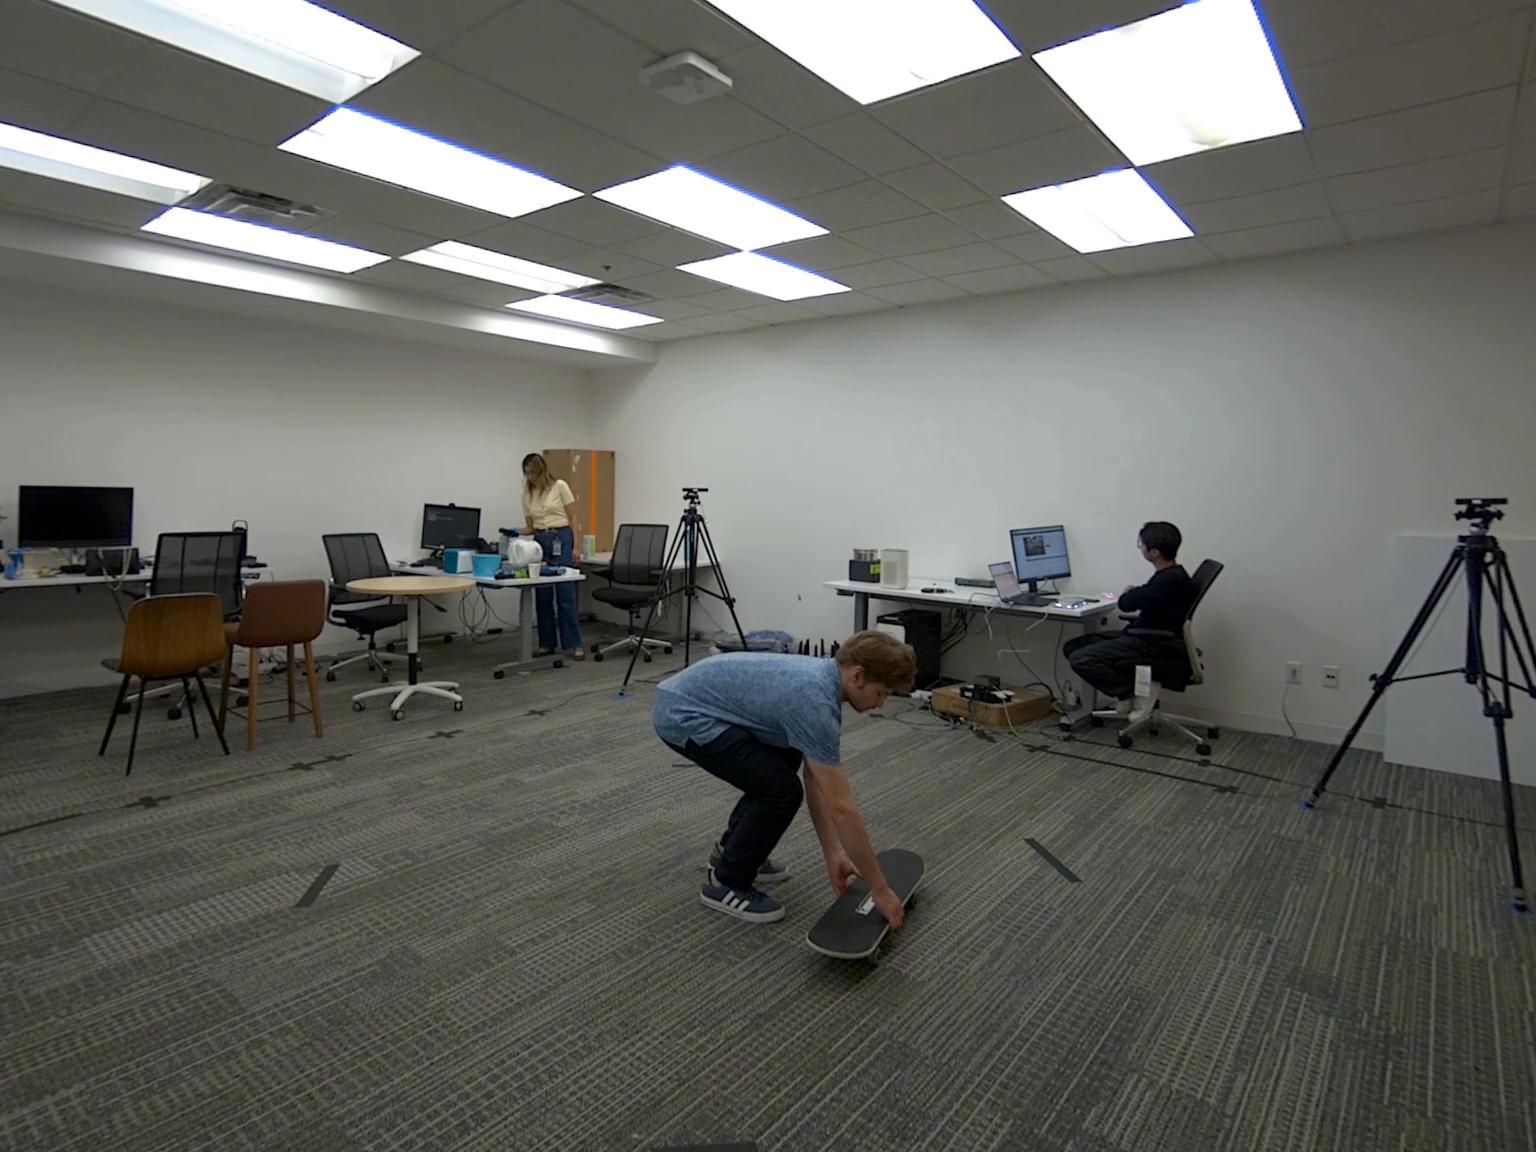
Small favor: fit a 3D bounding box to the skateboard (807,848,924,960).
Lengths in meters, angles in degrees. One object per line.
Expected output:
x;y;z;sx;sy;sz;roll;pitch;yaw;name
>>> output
0.323;1.060;2.722;0.198;0.110;0.768;4;7;25;skateboard
